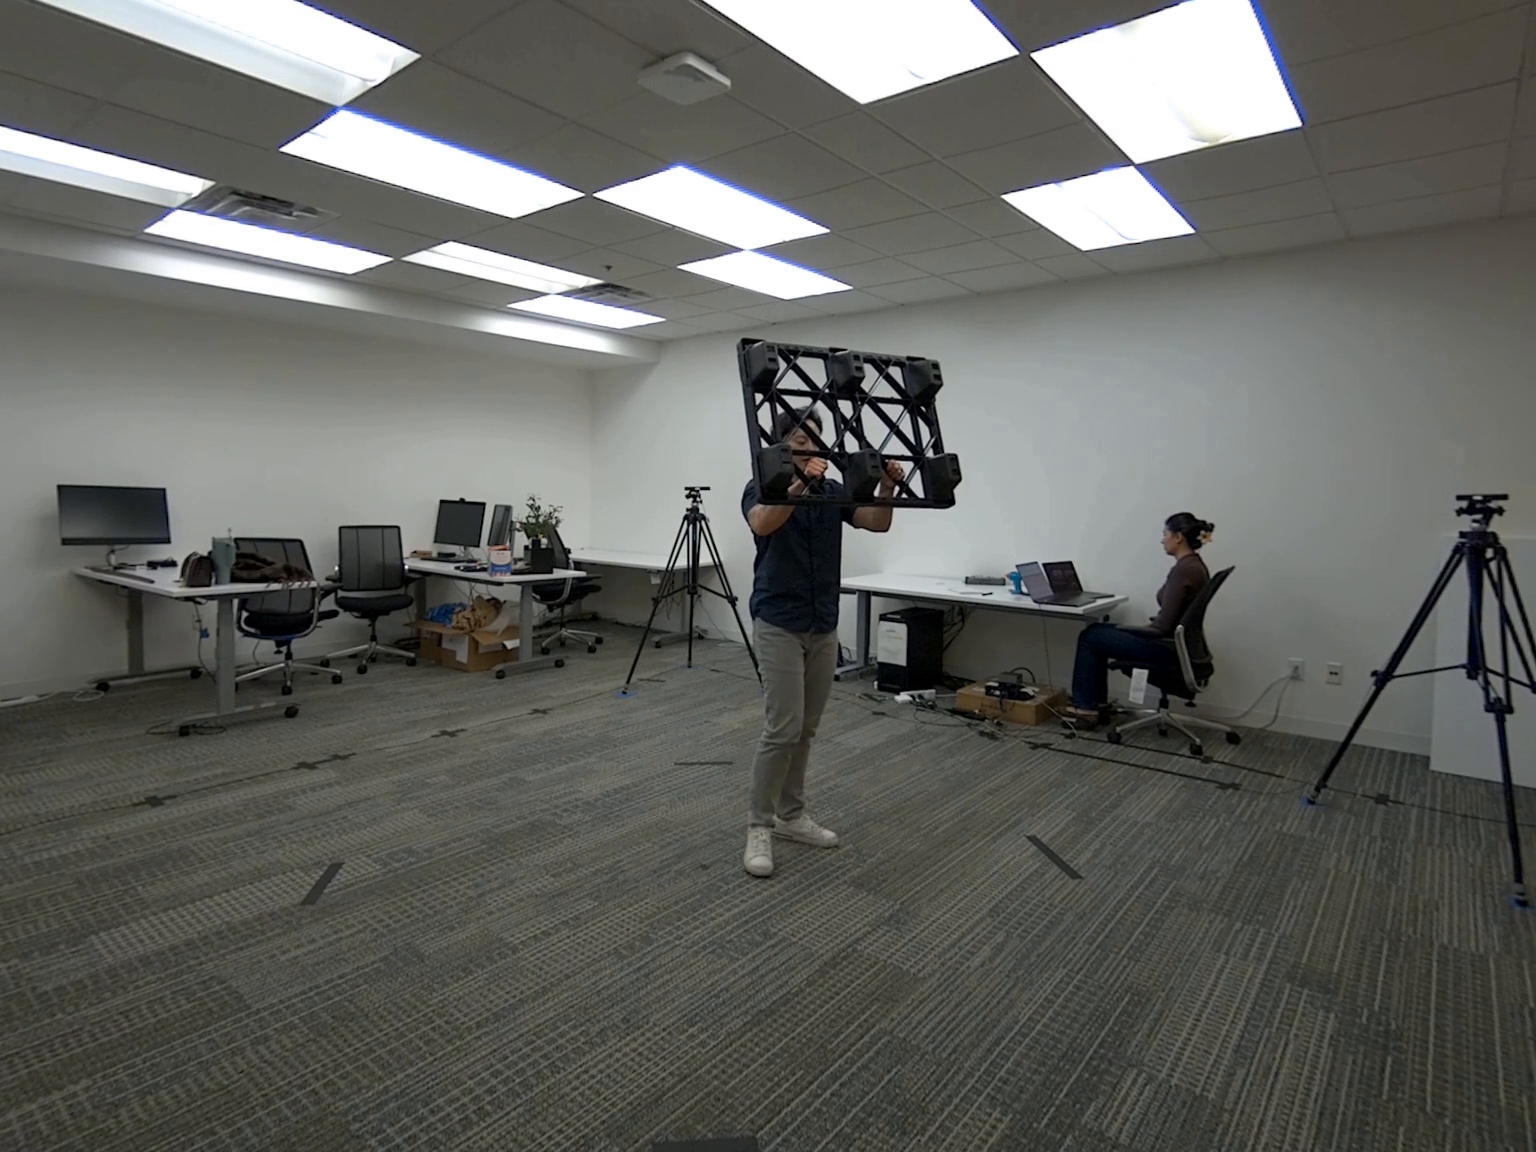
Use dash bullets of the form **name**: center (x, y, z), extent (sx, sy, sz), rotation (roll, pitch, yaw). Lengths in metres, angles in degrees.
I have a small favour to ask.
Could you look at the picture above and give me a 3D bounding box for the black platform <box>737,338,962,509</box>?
- **black platform**: center (0.300, -0.551, 2.988), extent (0.787, 0.614, 0.144), rotation (-1, -15, -24)
